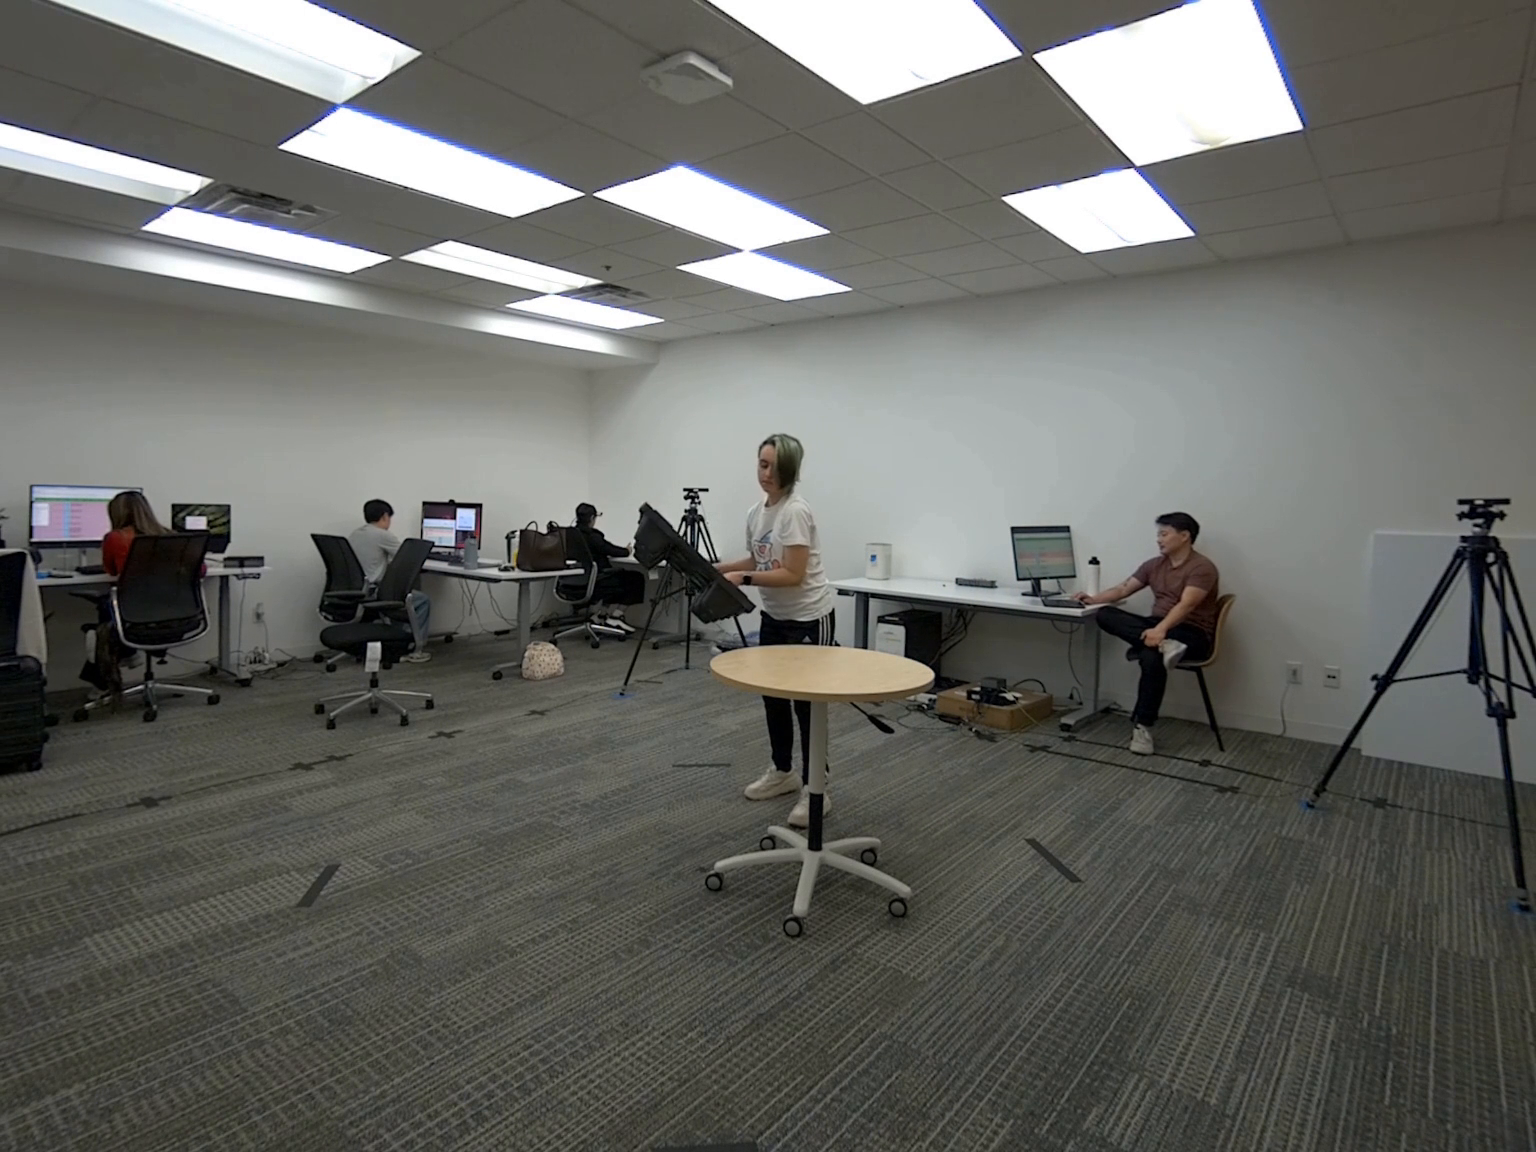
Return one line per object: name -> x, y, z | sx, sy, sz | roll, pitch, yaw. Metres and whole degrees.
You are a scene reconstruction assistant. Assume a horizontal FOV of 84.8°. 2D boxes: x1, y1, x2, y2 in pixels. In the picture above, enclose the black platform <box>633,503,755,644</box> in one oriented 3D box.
black platform -> -0.373, -0.009, 3.684 | 0.605, 0.143, 0.807 | 45, -10, -2
